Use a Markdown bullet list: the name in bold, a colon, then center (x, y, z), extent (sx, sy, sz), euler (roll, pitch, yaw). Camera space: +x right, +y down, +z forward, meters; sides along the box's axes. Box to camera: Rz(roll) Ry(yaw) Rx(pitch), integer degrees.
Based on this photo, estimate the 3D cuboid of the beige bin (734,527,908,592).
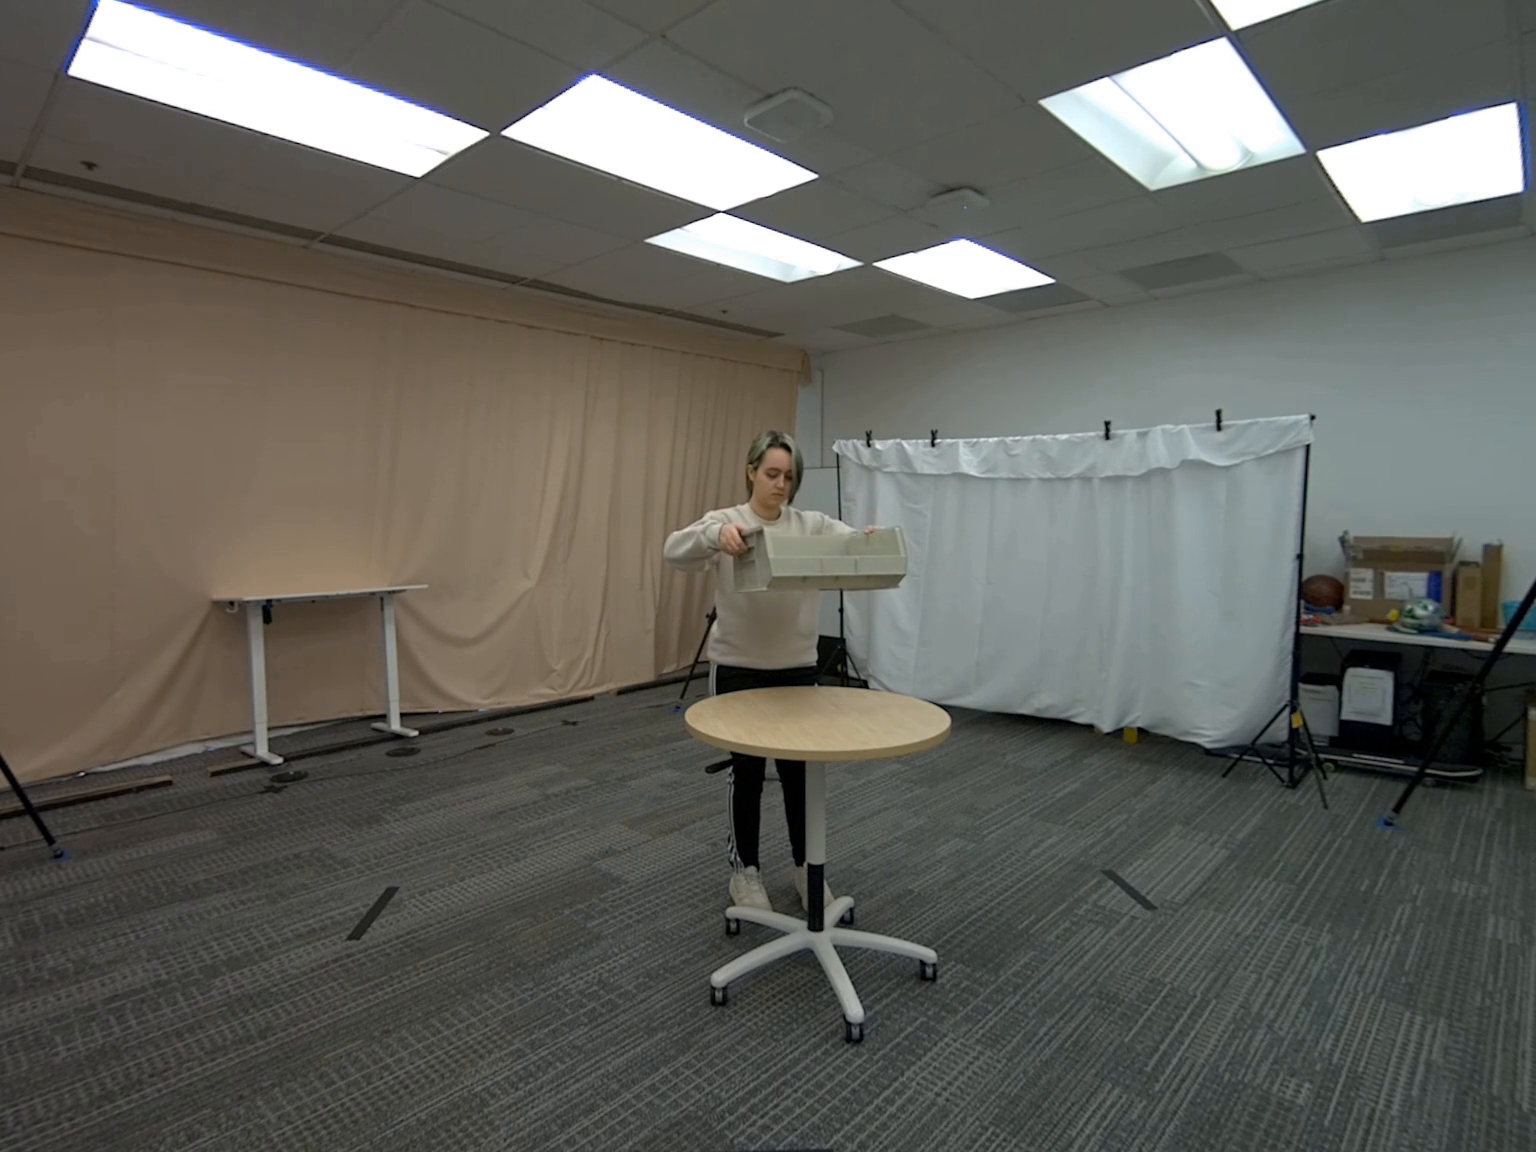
- **beige bin**: center (0.136, -0.032, 2.473), extent (0.414, 0.189, 0.384), euler (-1, -1, -19)
